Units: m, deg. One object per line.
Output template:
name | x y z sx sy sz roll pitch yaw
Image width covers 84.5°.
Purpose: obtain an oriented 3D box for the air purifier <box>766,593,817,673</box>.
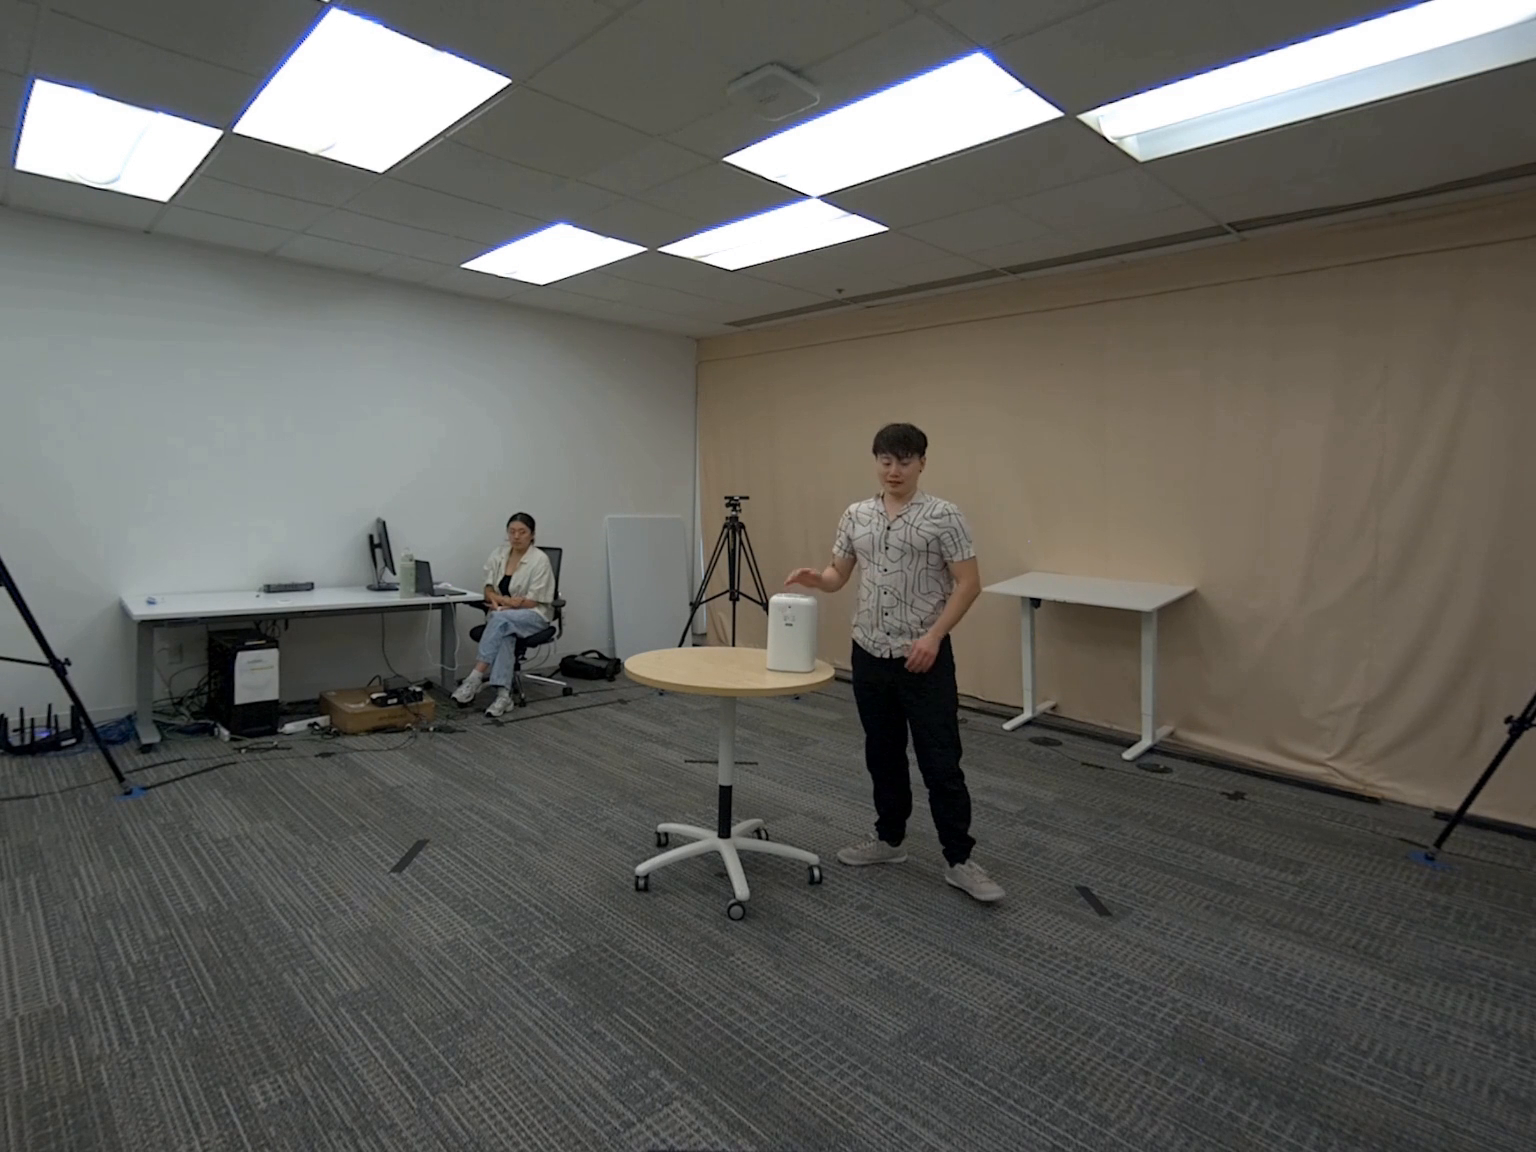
air purifier | 0.085 0.202 3.059 0.173 0.265 0.170 2 3 11
